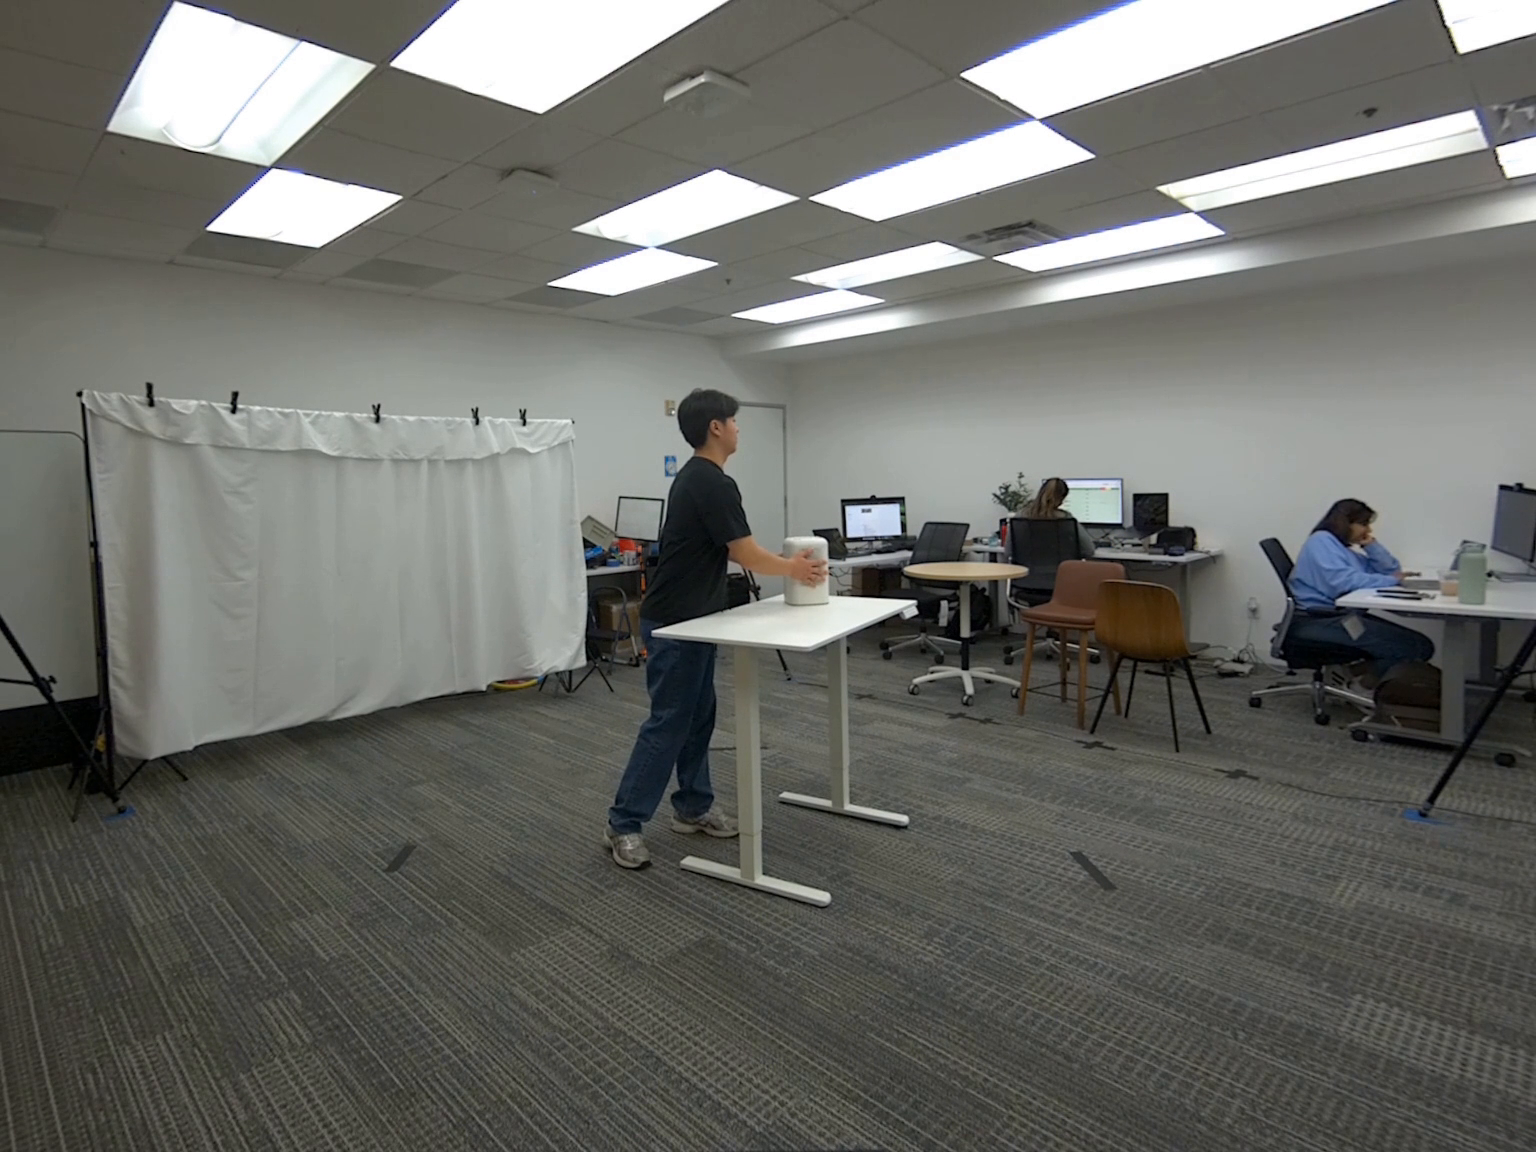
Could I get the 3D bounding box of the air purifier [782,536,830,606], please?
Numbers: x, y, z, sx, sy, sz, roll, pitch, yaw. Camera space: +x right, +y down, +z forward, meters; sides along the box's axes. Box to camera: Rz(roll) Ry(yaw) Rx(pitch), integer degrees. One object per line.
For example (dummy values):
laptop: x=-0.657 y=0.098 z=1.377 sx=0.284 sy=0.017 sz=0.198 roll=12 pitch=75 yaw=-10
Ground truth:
air purifier: x=0.153 y=-0.023 z=3.475 sx=0.170 sy=0.264 sz=0.173 roll=-3 pitch=6 yaw=-9
